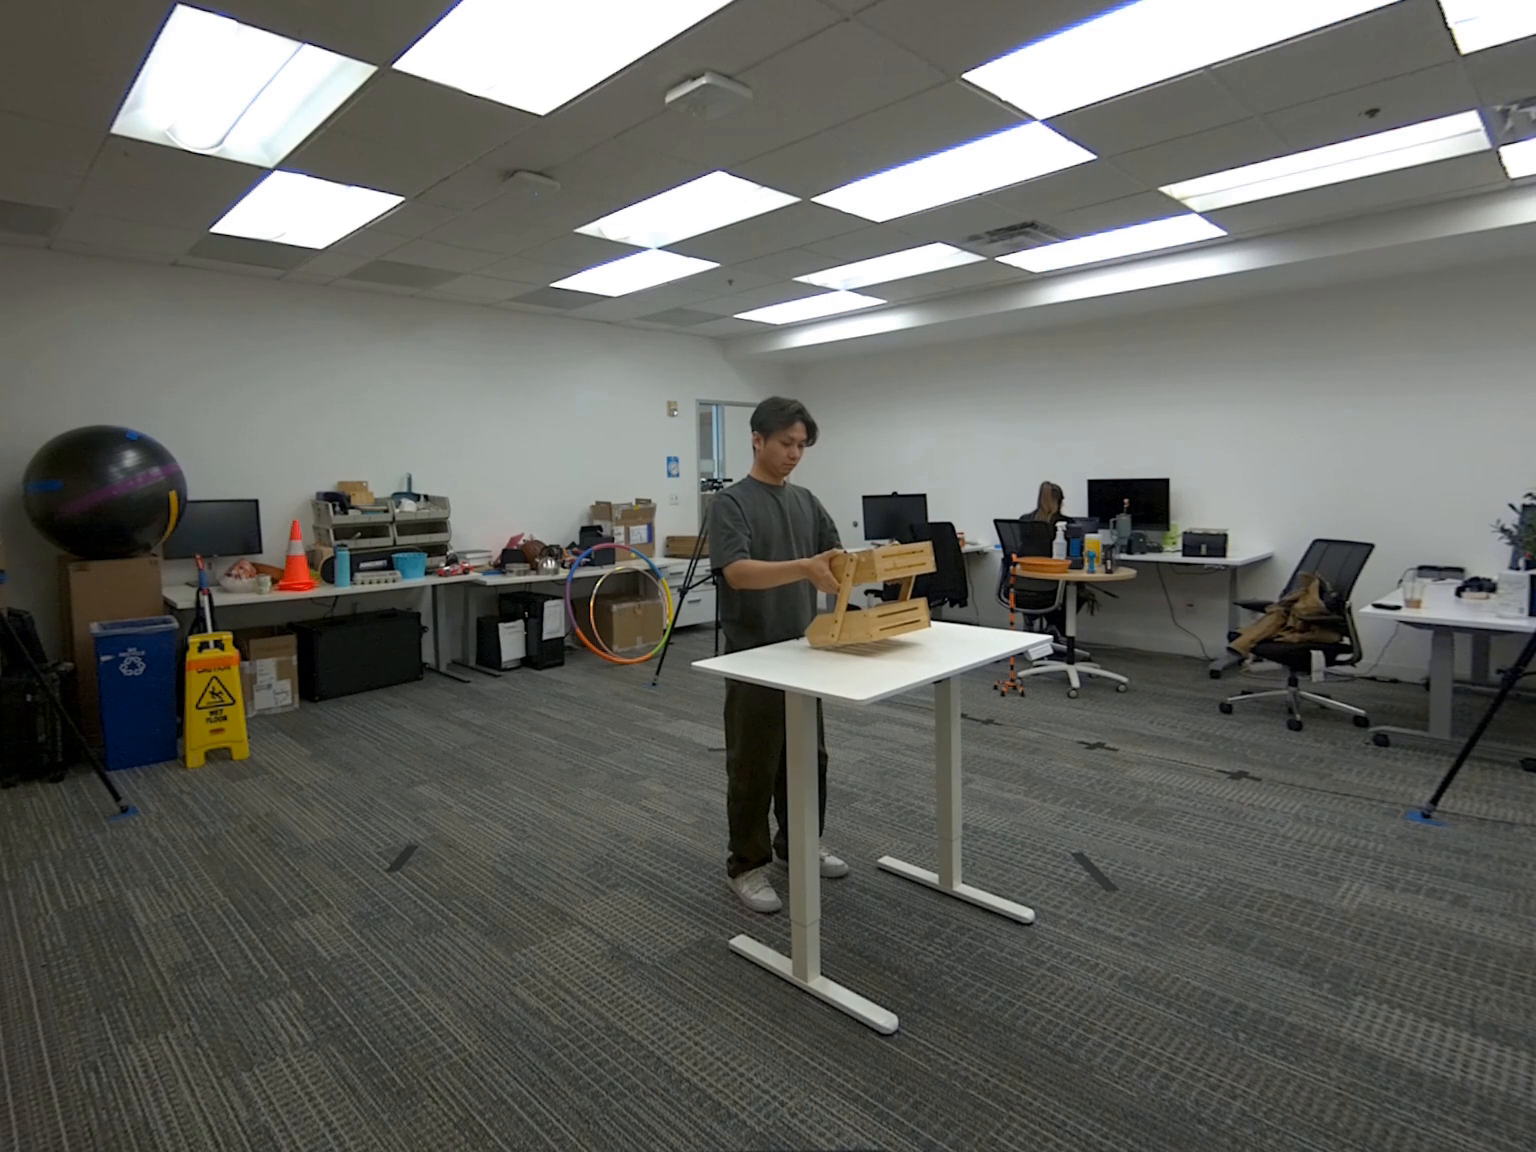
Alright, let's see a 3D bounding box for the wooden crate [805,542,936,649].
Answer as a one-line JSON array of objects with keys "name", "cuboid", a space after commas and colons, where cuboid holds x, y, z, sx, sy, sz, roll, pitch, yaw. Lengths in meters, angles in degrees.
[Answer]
[{"name": "wooden crate", "cuboid": [0.307, 0.051, 2.596, 0.316, 0.274, 0.309, -7, -2, -44]}]
